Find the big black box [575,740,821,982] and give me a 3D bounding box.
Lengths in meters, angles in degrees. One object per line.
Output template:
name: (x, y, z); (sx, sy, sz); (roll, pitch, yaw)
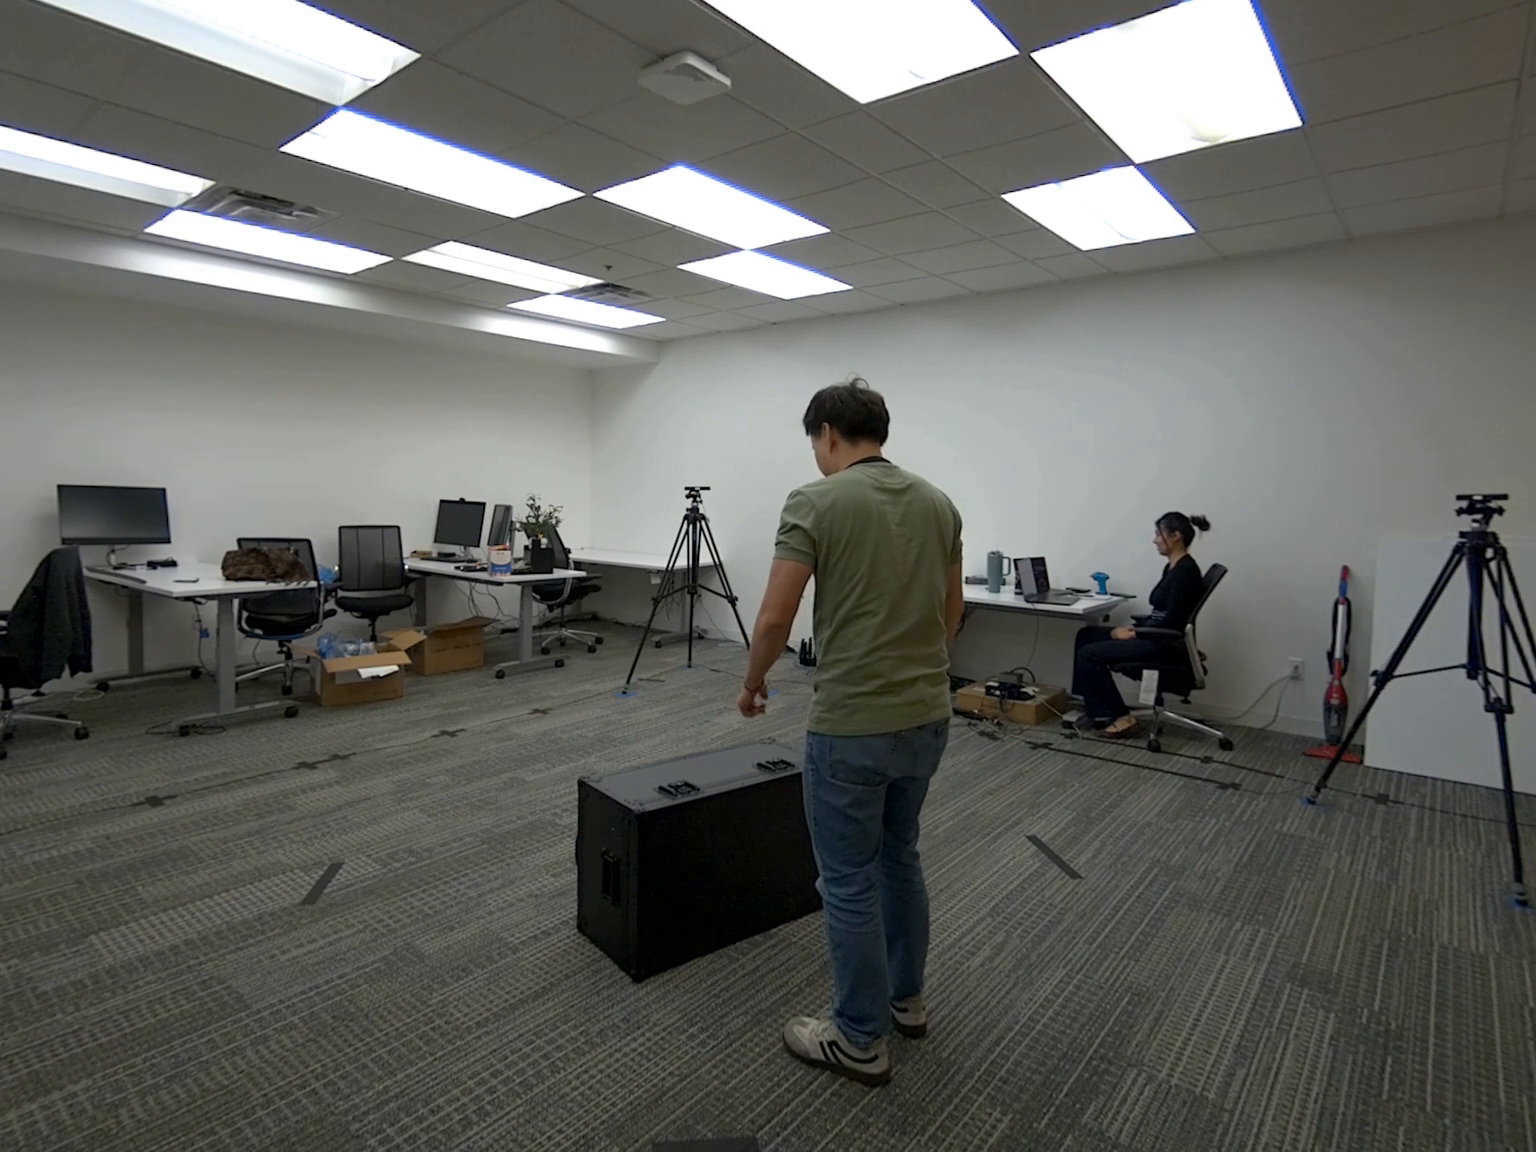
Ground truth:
big black box: (-0.176, 0.858, 2.765); (0.836, 0.520, 0.409); (-2, 5, -38)
